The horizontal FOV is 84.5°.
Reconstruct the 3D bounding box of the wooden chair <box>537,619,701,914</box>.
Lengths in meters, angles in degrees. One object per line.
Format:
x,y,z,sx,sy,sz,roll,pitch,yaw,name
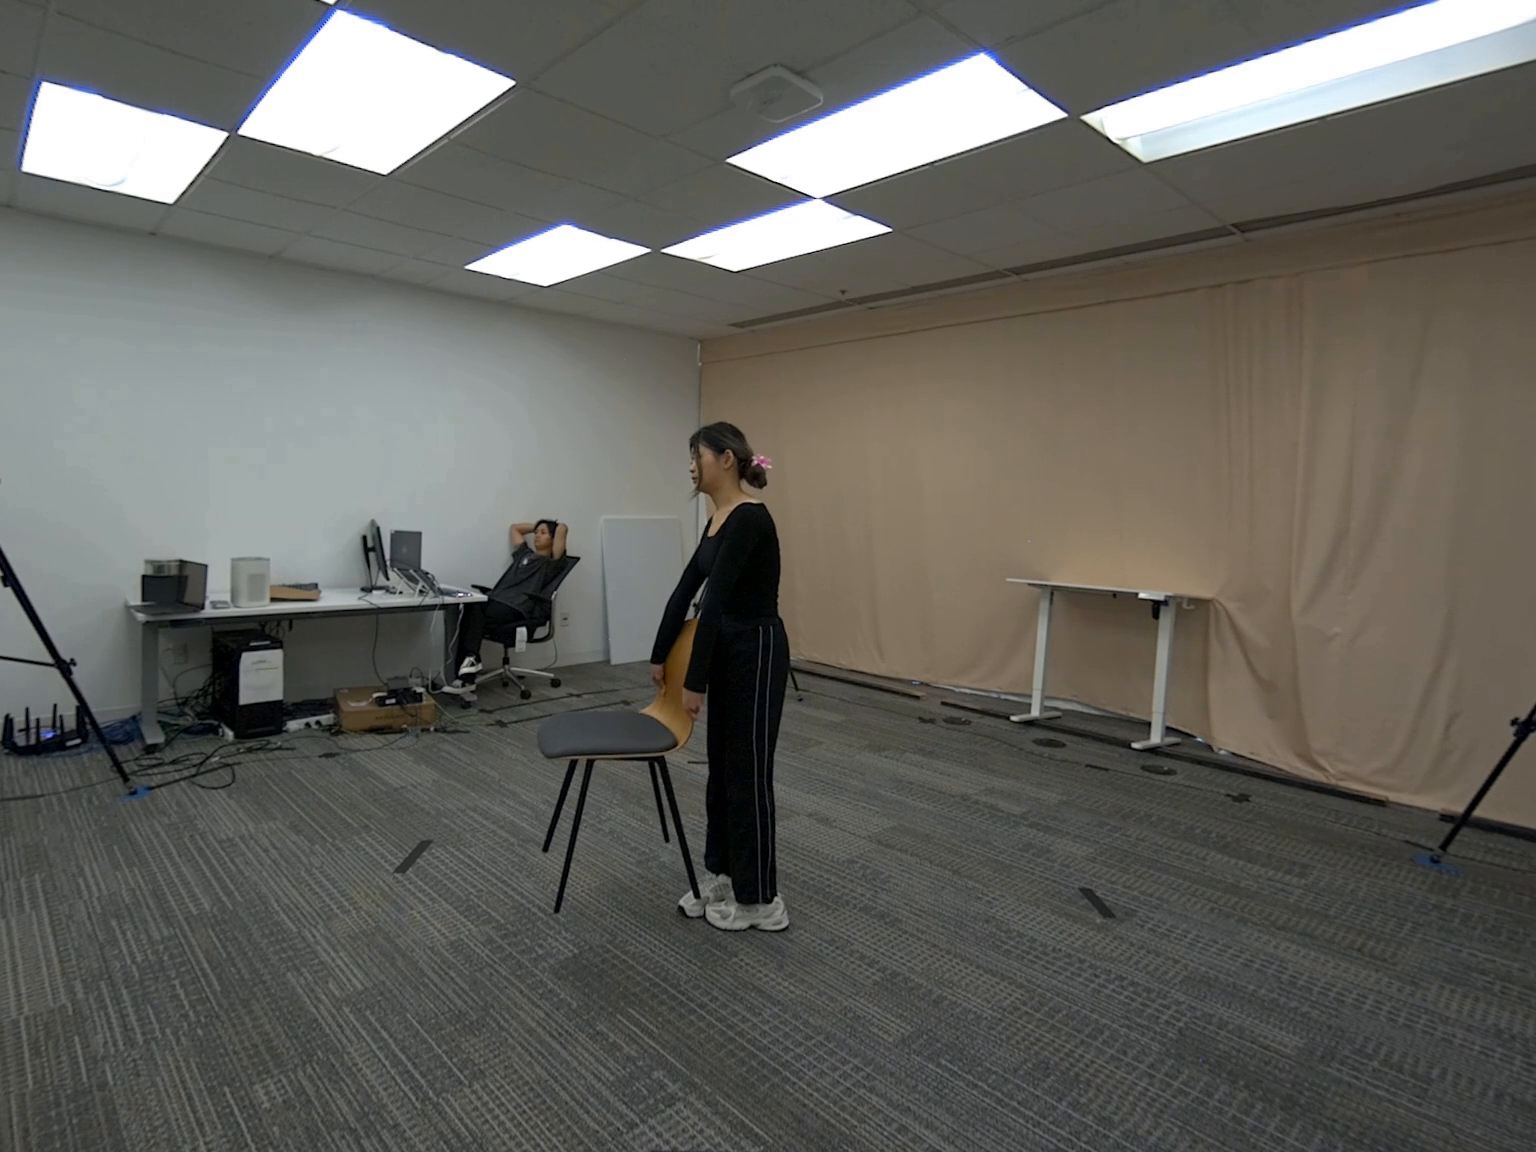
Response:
-0.488,0.566,2.762,0.515,0.876,0.486,6,2,-19,wooden chair
